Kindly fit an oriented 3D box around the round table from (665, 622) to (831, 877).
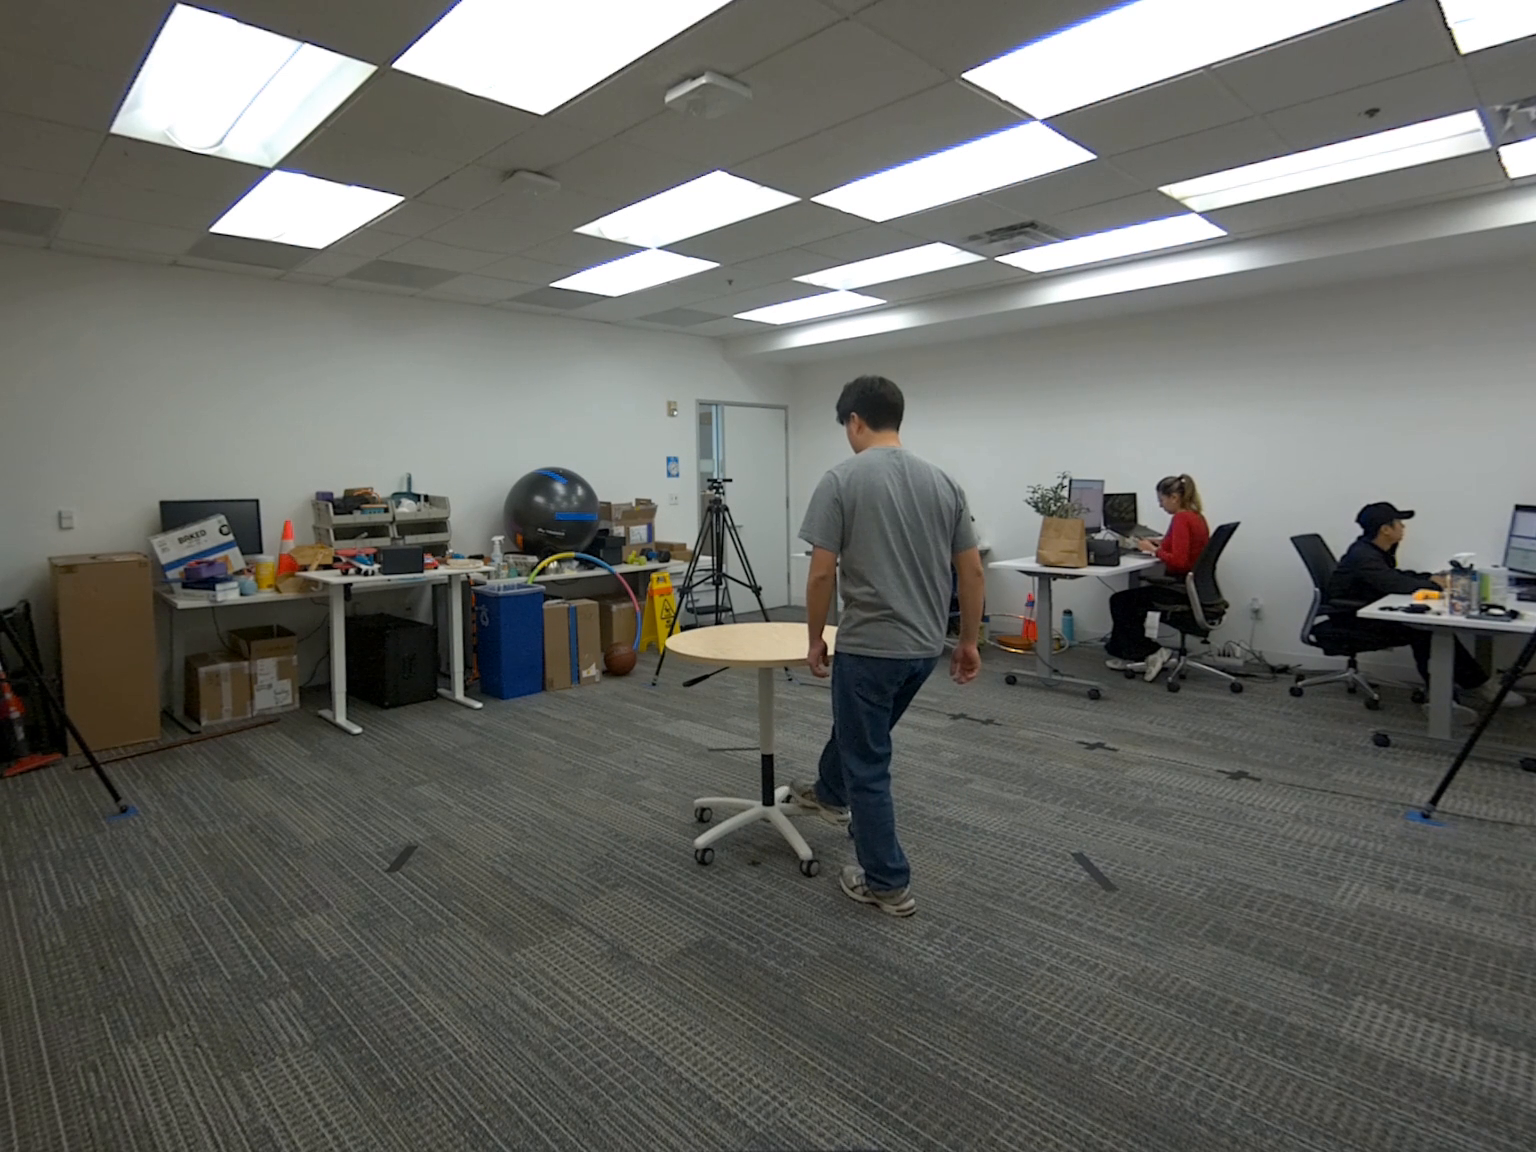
[{"bbox_3d":[0.000,0.634,3.293,0.763,0.791,0.768,-1,5,-2],"label":"round table"}]
